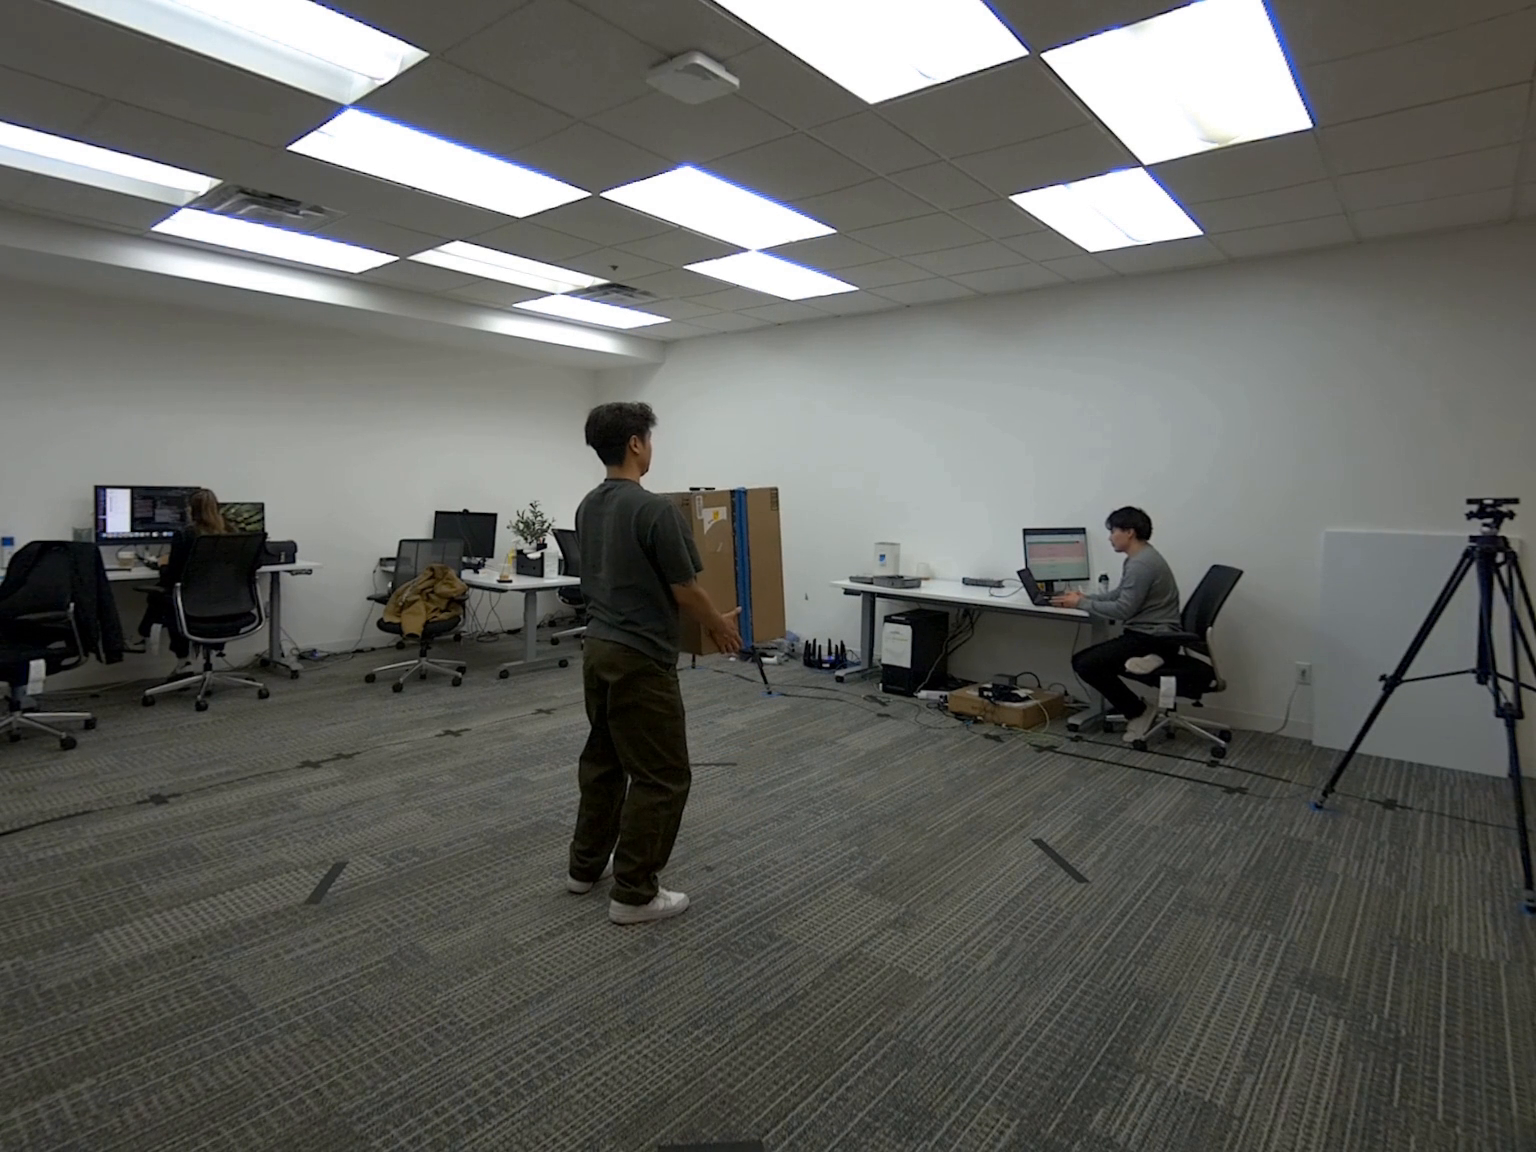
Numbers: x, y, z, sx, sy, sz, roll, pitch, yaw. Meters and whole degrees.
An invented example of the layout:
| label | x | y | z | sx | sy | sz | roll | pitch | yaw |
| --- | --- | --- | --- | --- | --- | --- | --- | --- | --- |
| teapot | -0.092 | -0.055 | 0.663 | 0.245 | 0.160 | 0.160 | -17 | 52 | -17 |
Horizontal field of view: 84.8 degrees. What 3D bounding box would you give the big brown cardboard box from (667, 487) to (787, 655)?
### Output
| label | x | y | z | sx | sy | sz | roll | pitch | yaw |
| --- | --- | --- | --- | --- | --- | --- | --- | --- | --- |
| big brown cardboard box | -0.175 | -0.039 | 3.110 | 0.406 | 0.586 | 0.241 | -7 | 7 | -42 |
